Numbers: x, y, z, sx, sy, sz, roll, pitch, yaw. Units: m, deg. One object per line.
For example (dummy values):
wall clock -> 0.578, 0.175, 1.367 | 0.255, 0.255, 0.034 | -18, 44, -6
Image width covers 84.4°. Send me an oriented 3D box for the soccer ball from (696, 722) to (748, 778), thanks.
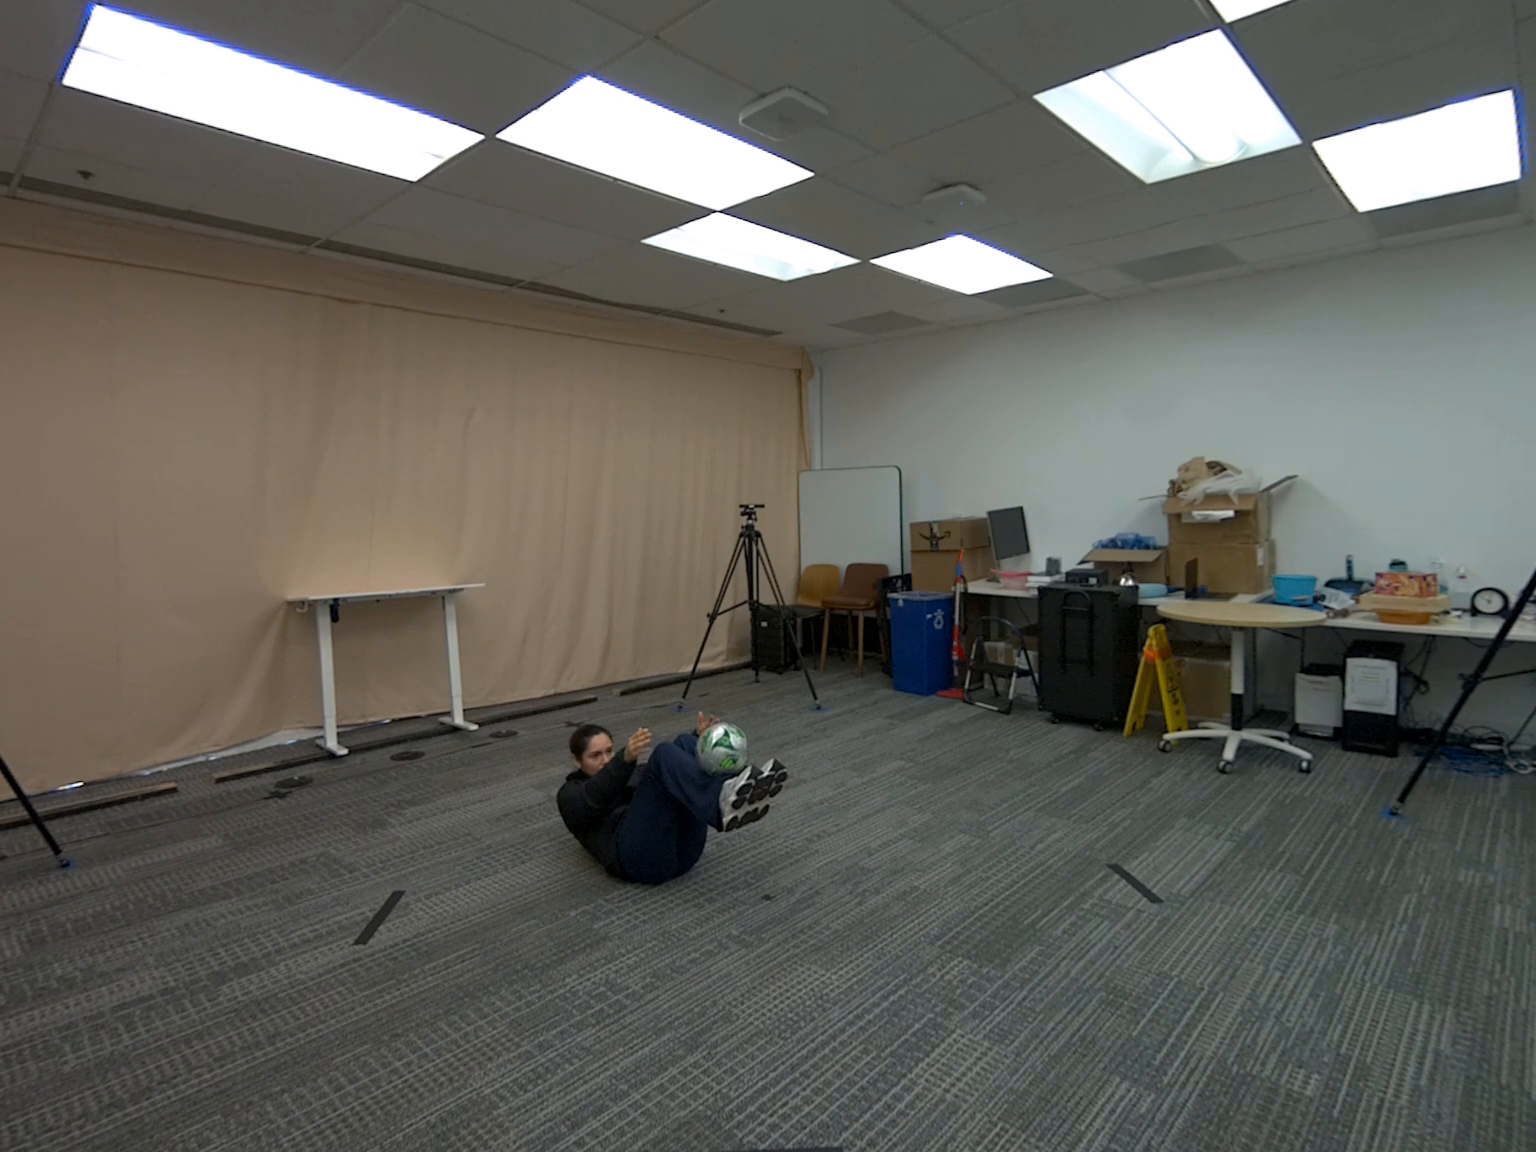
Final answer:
soccer ball -> -0.151, 0.595, 2.869 | 0.187, 0.187, 0.188 | 2, 5, -2
